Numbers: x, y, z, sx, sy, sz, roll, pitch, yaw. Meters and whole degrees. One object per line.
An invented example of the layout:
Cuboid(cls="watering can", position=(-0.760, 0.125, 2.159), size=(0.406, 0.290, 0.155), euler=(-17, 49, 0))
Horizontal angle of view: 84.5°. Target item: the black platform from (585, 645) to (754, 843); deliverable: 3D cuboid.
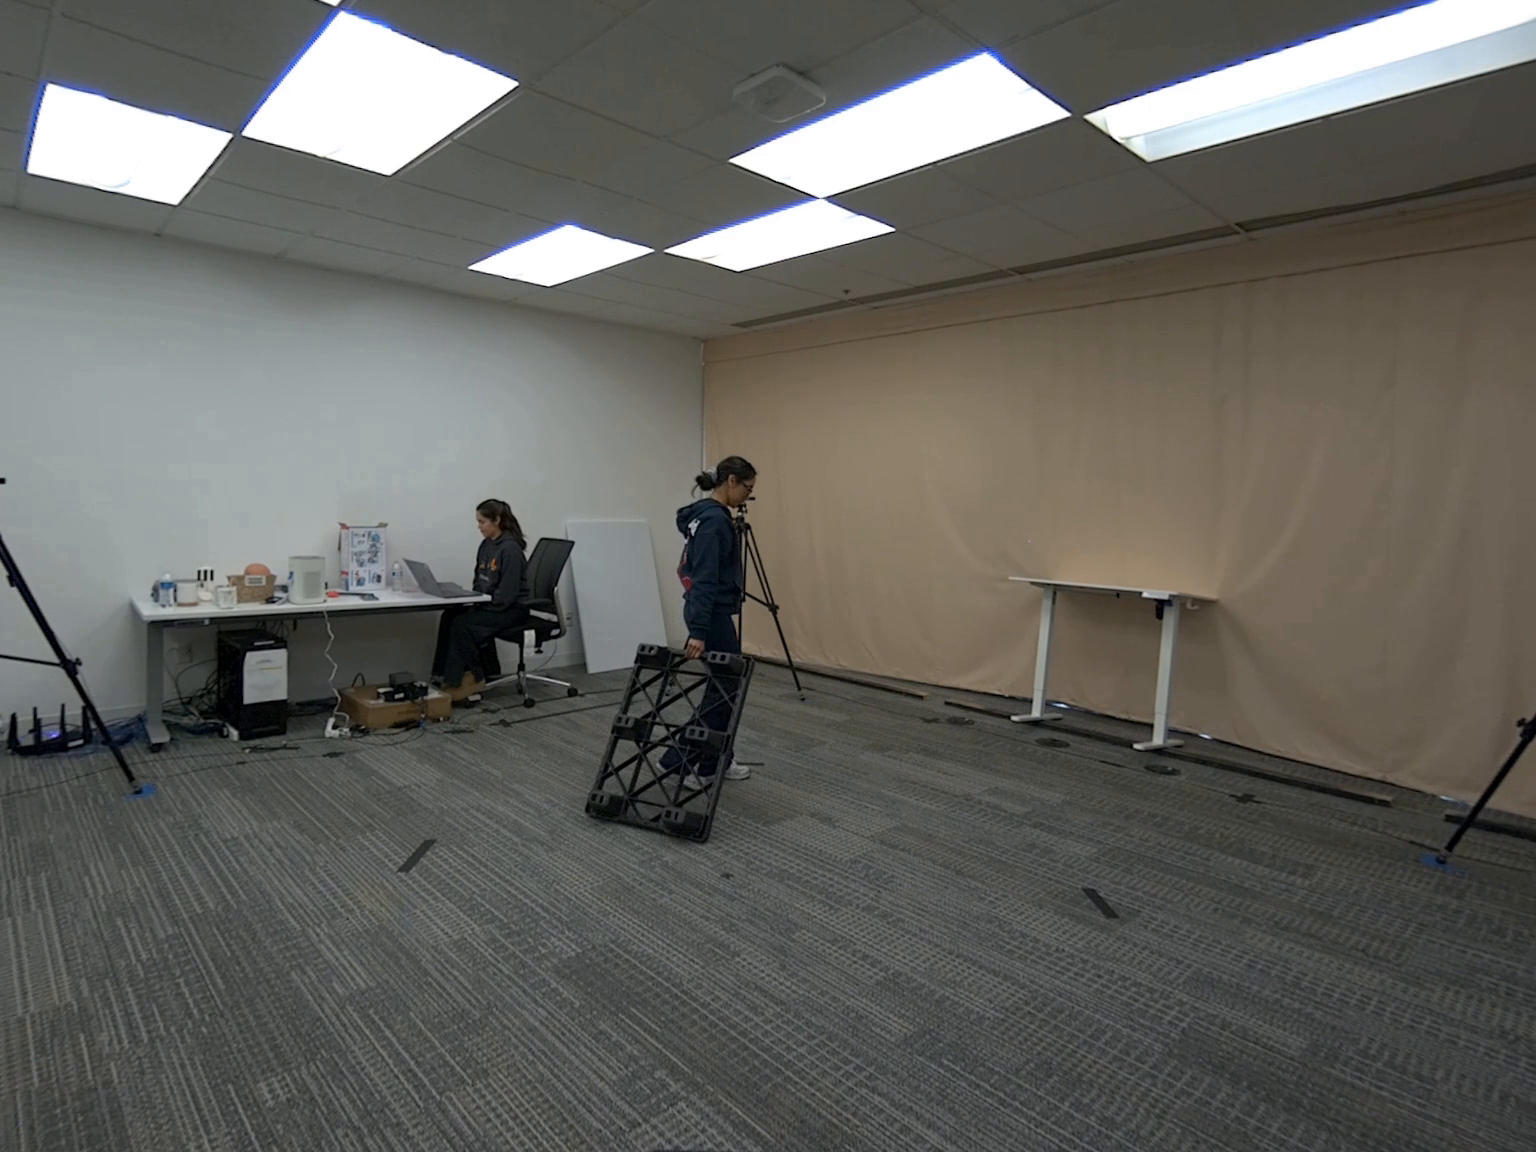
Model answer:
Cuboid(cls="black platform", position=(-0.448, 0.684, 3.645), size=(0.617, 0.815, 0.139), euler=(2, -28, 26))
